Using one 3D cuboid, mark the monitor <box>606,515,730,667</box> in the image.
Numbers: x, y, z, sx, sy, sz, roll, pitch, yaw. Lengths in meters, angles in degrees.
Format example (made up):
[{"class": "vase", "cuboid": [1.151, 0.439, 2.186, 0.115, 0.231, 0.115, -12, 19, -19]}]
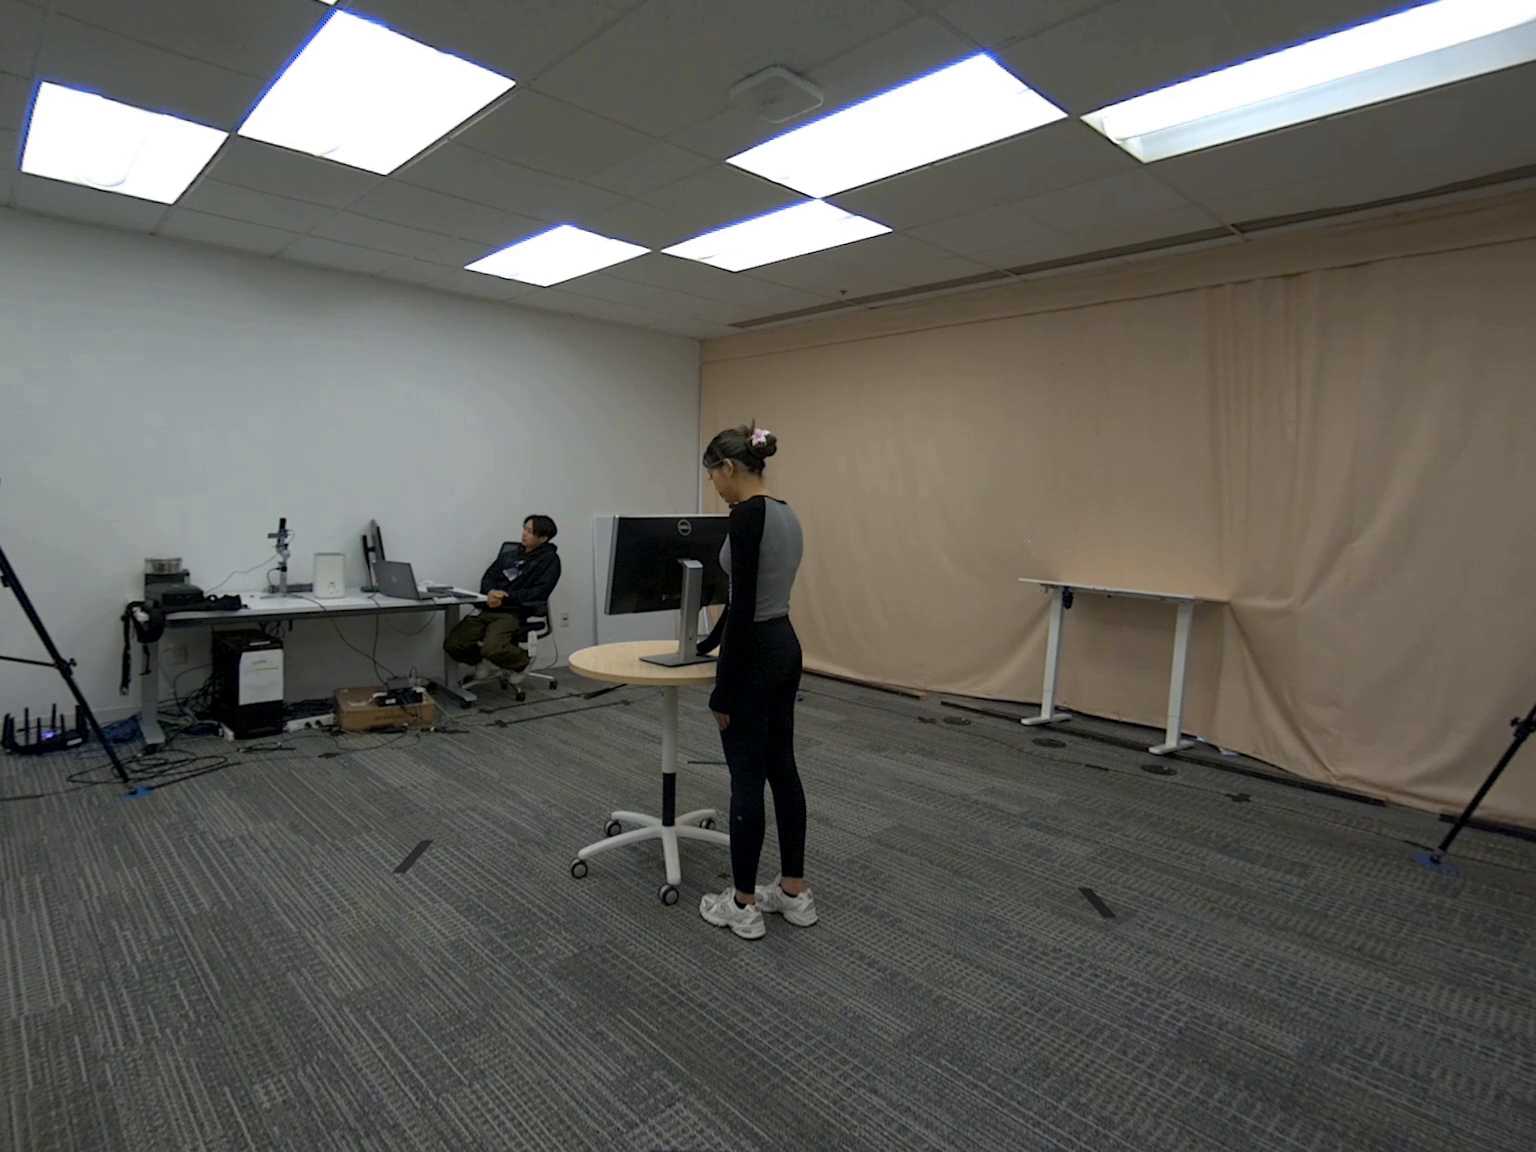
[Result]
[{"class": "monitor", "cuboid": [-0.327, 0.047, 3.111, 0.527, 0.521, 0.192, -3, 4, -43]}]
